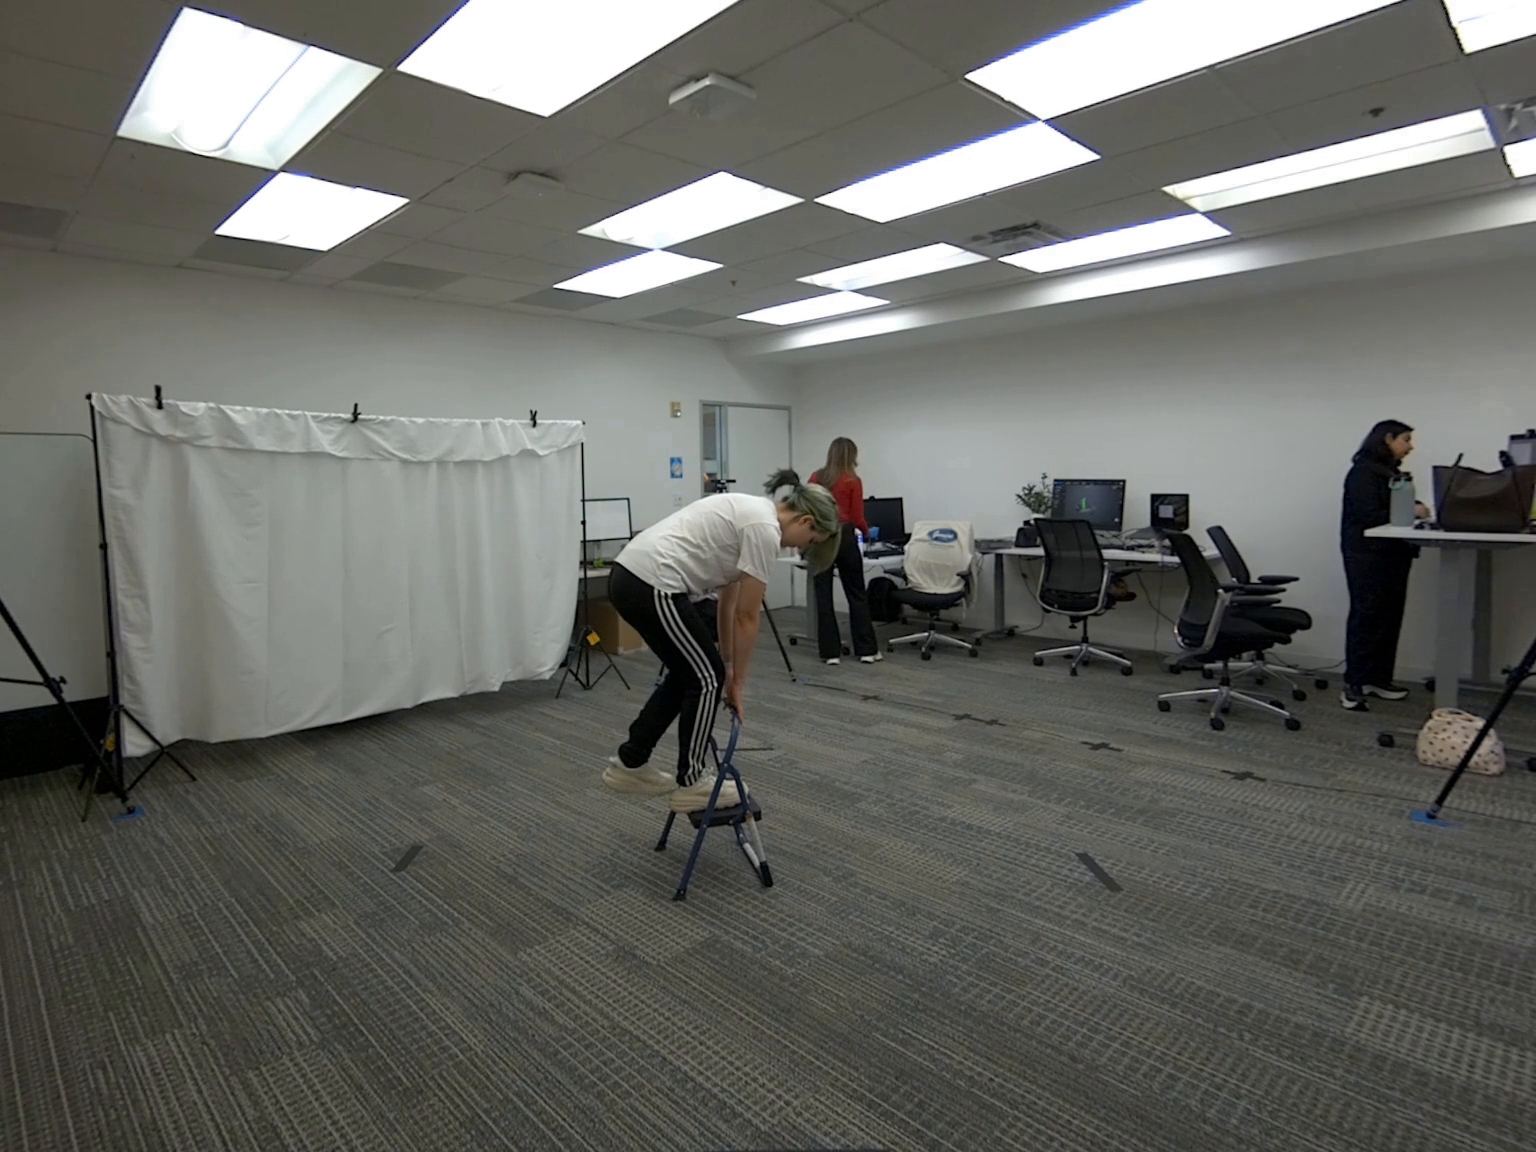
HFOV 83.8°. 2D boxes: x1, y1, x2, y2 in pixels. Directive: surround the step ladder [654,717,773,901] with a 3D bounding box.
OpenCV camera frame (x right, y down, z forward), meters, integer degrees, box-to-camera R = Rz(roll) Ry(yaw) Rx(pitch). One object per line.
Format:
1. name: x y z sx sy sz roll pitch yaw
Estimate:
1. step ladder: -0.204 0.755 3.071 0.344 0.604 0.438 -2 5 -16
